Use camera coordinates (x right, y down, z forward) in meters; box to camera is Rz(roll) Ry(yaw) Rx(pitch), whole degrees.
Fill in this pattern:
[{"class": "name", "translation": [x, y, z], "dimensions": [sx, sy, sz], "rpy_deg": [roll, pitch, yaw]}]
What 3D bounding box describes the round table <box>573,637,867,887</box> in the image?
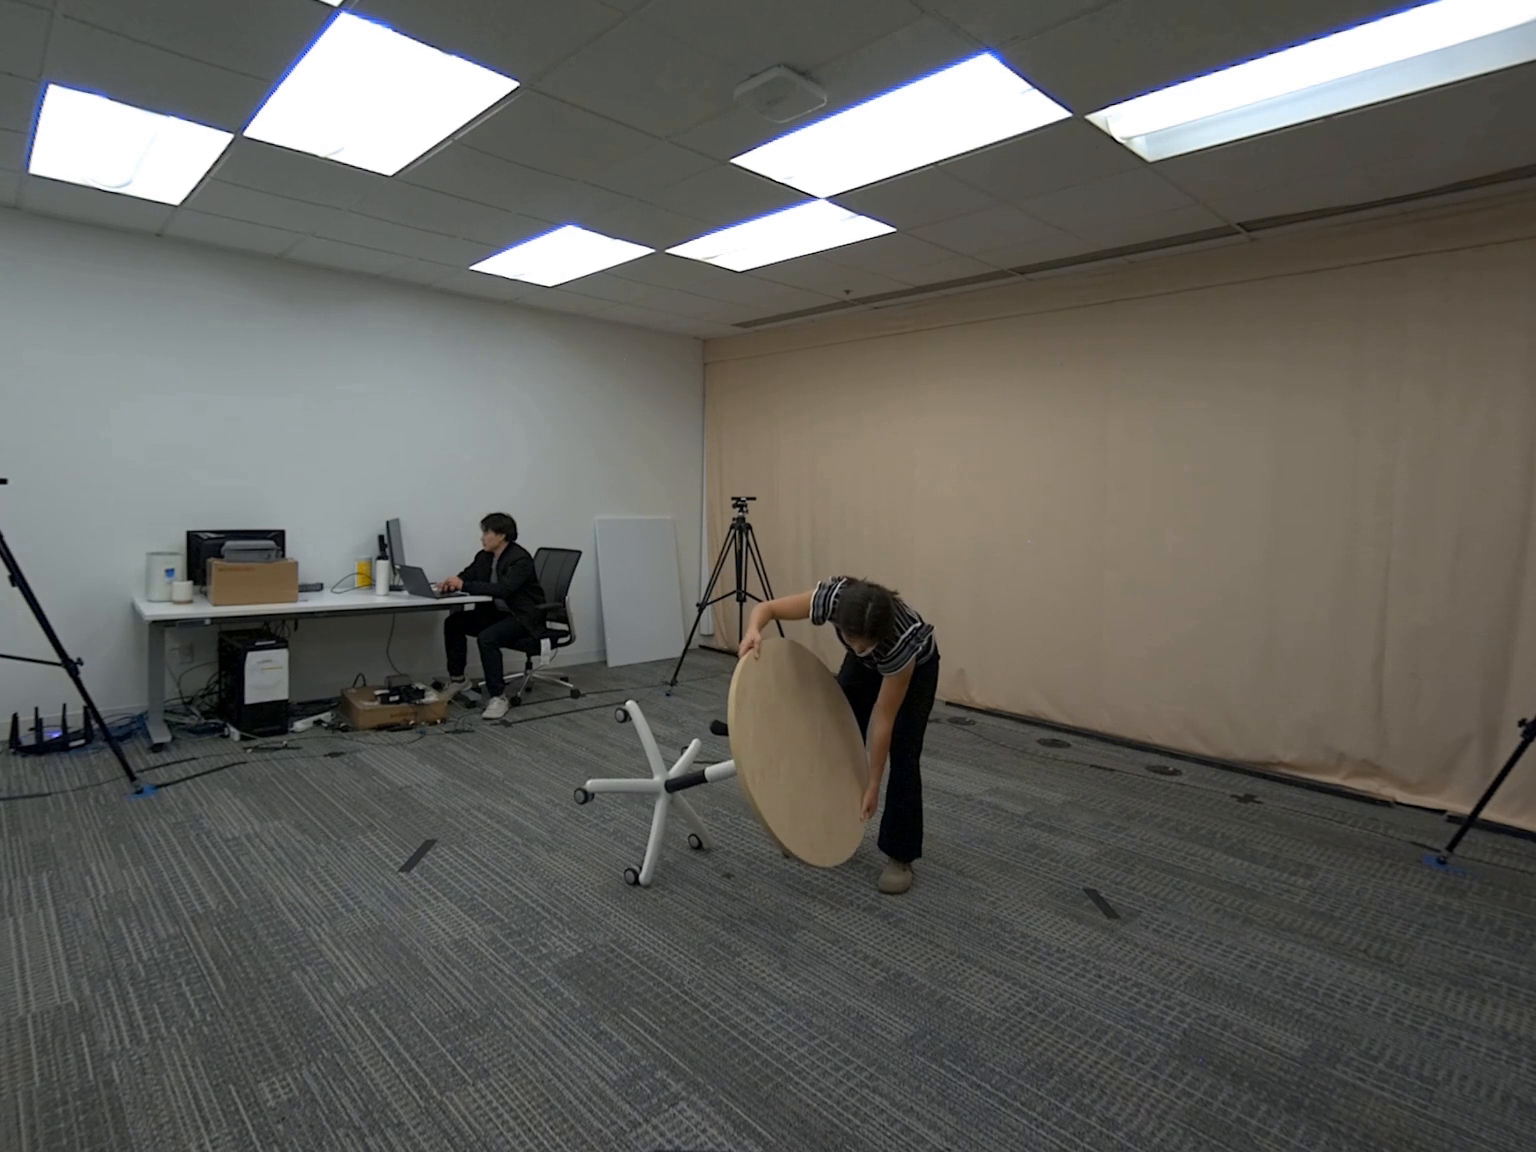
[{"class": "round table", "translation": [-0.180, 0.711, 3.041], "dimensions": [0.802, 0.771, 0.748], "rpy_deg": [-25, -11, 32]}]
